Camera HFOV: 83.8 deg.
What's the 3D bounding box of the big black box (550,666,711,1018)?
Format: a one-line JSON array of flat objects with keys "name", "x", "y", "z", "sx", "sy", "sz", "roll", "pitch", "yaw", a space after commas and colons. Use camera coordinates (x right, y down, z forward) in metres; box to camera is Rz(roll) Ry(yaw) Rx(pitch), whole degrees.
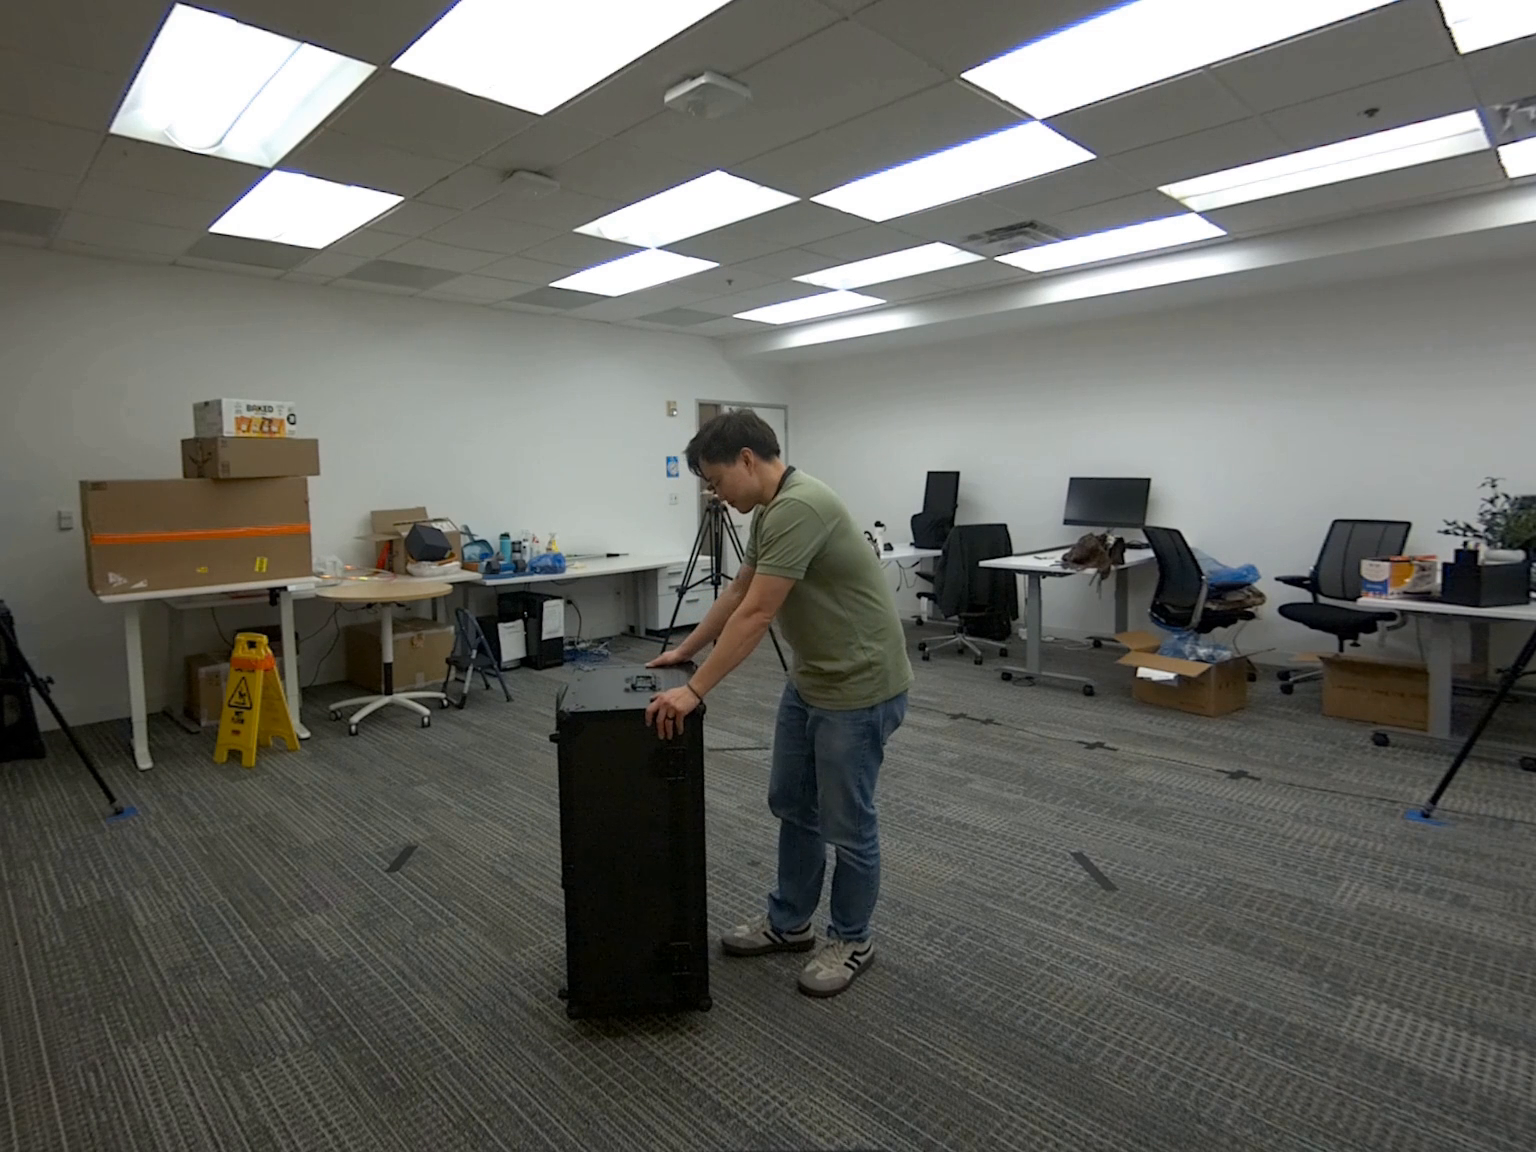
[{"name": "big black box", "x": -0.366, "y": 0.721, "z": 2.329, "sx": 0.394, "sy": 0.857, "sz": 0.527, "roll": -3, "pitch": 6, "yaw": -7}]
